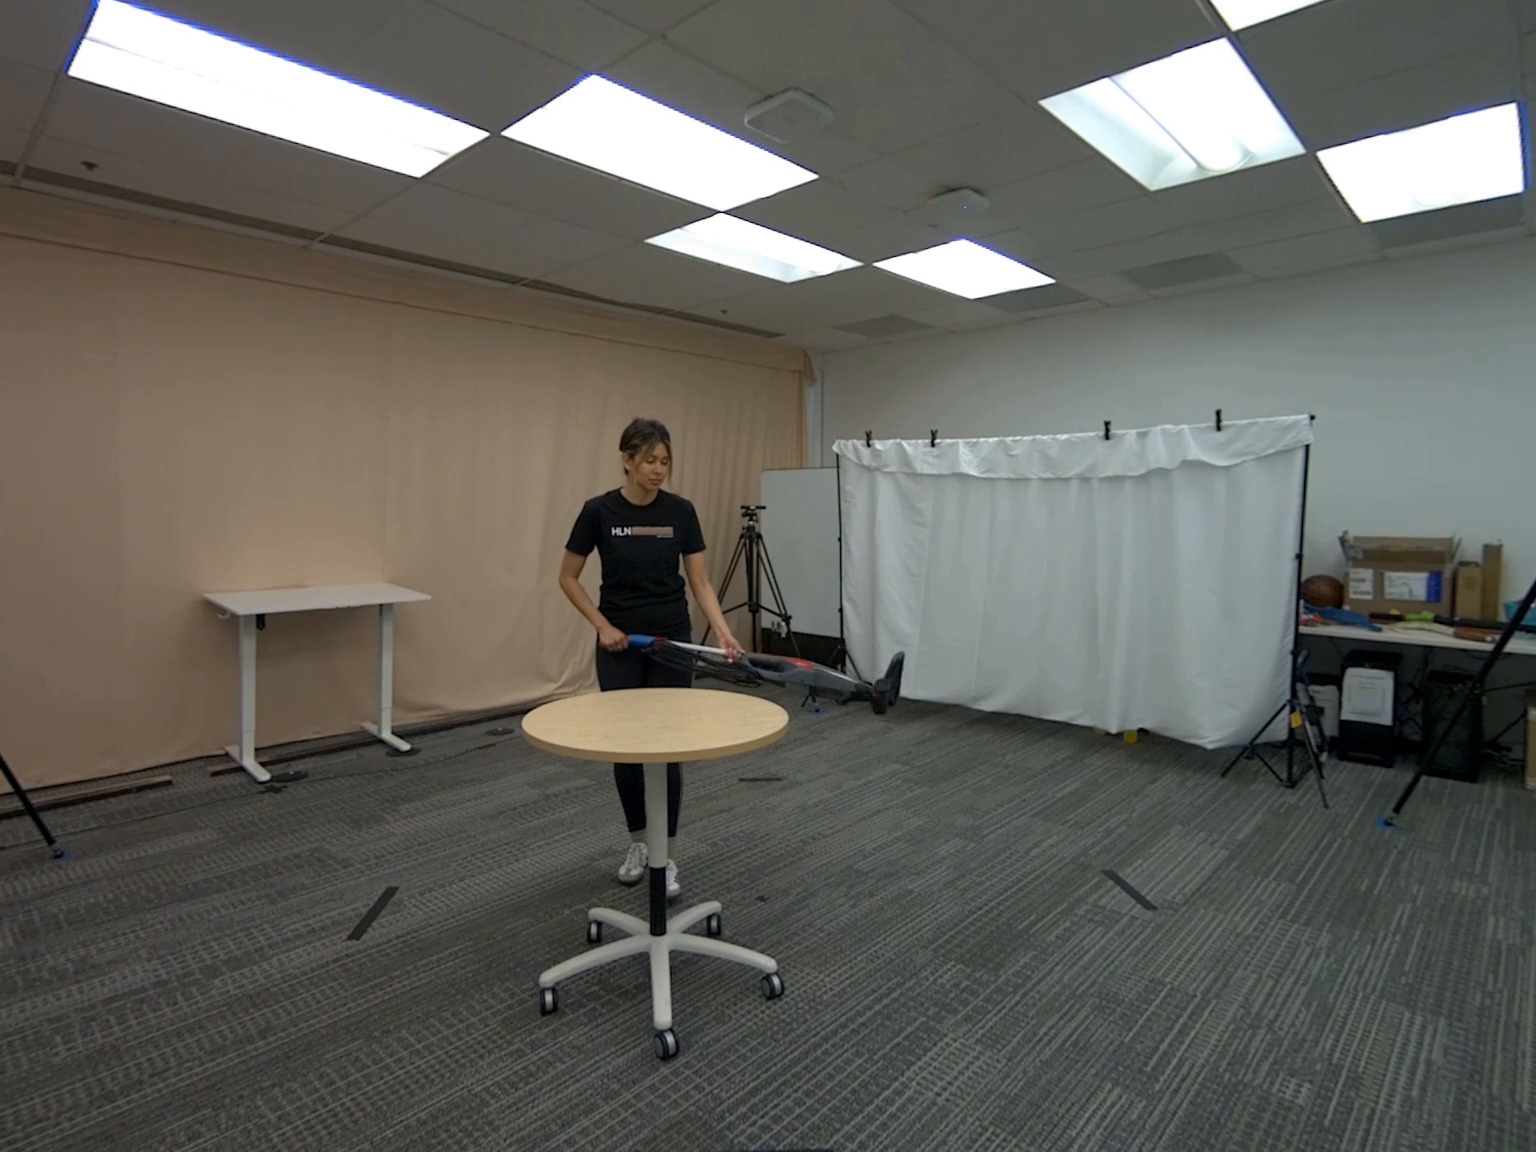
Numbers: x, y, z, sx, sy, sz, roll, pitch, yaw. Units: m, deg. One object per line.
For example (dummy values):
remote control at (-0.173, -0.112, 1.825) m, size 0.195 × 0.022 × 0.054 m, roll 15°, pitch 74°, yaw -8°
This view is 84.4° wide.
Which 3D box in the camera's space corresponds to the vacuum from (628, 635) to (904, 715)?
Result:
vacuum at (-0.079, 0.327, 2.944) m, size 1.064 × 0.247 × 0.145 m, roll 7°, pitch 40°, yaw 12°
